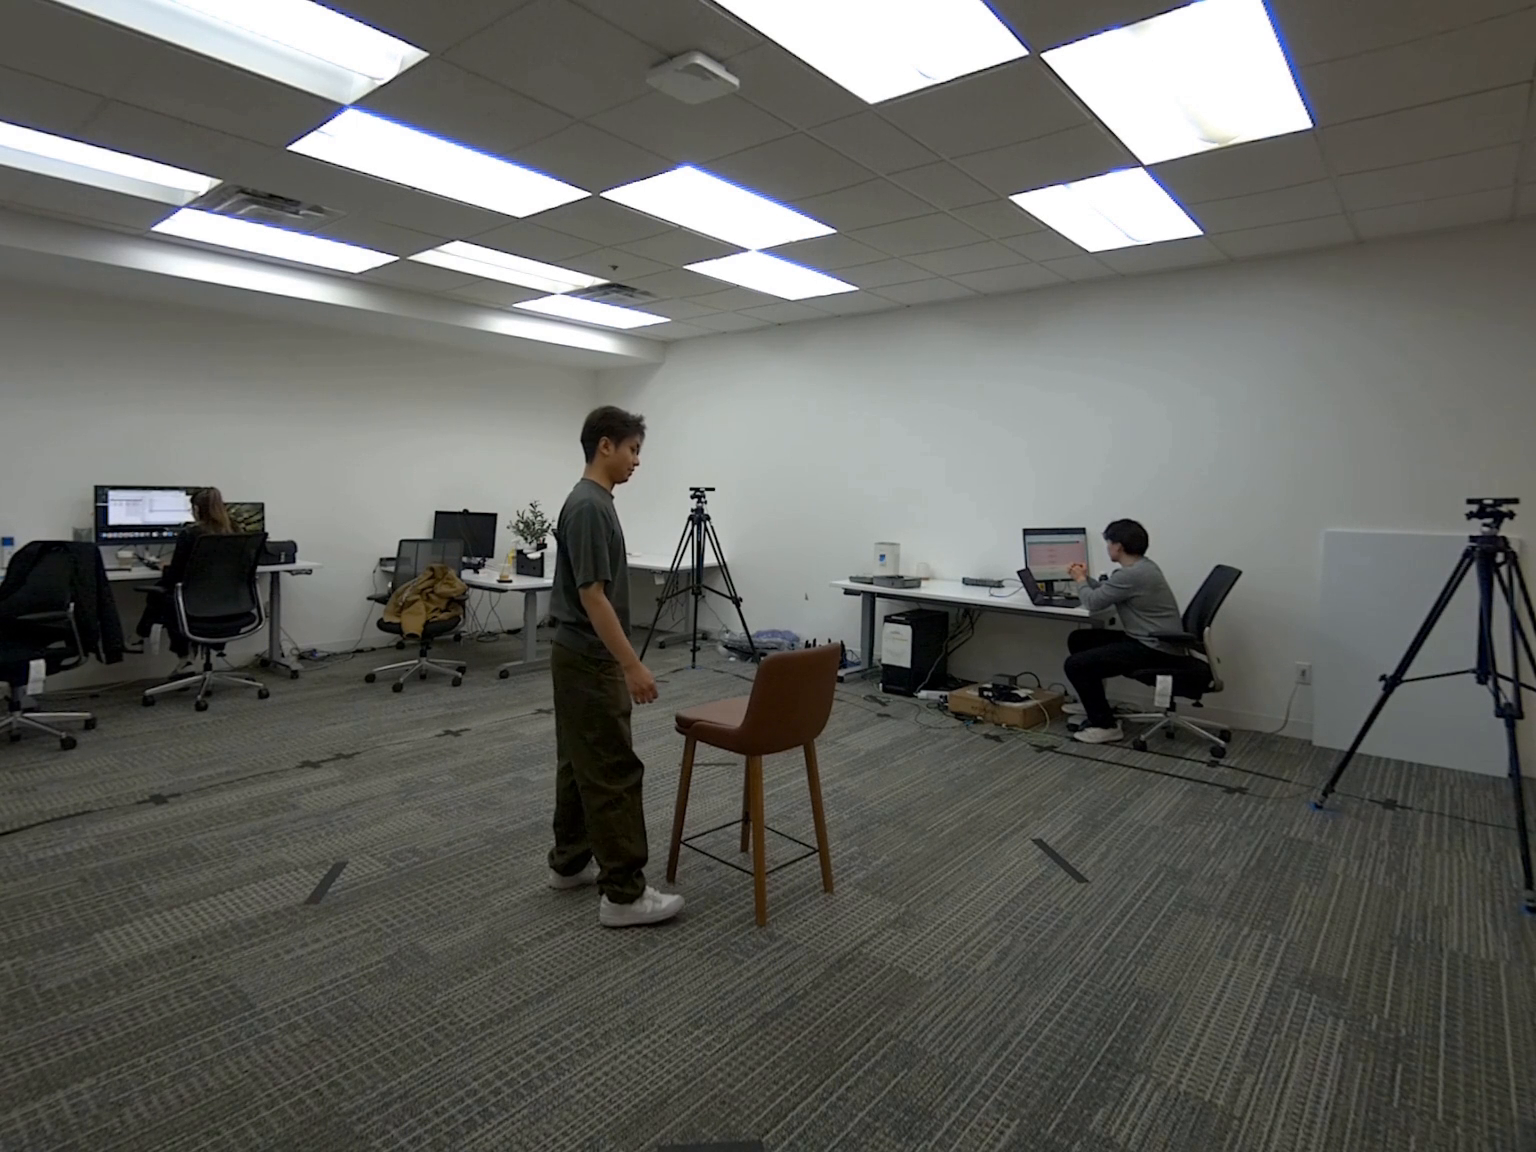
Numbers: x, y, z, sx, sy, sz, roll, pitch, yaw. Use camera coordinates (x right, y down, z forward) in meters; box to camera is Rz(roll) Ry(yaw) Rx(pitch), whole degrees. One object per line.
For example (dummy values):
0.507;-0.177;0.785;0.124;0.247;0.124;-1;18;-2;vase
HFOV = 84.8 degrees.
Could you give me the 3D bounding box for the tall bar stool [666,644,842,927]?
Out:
-0.054;0.652;2.957;0.484;0.886;0.443;7;7;44;tall bar stool
